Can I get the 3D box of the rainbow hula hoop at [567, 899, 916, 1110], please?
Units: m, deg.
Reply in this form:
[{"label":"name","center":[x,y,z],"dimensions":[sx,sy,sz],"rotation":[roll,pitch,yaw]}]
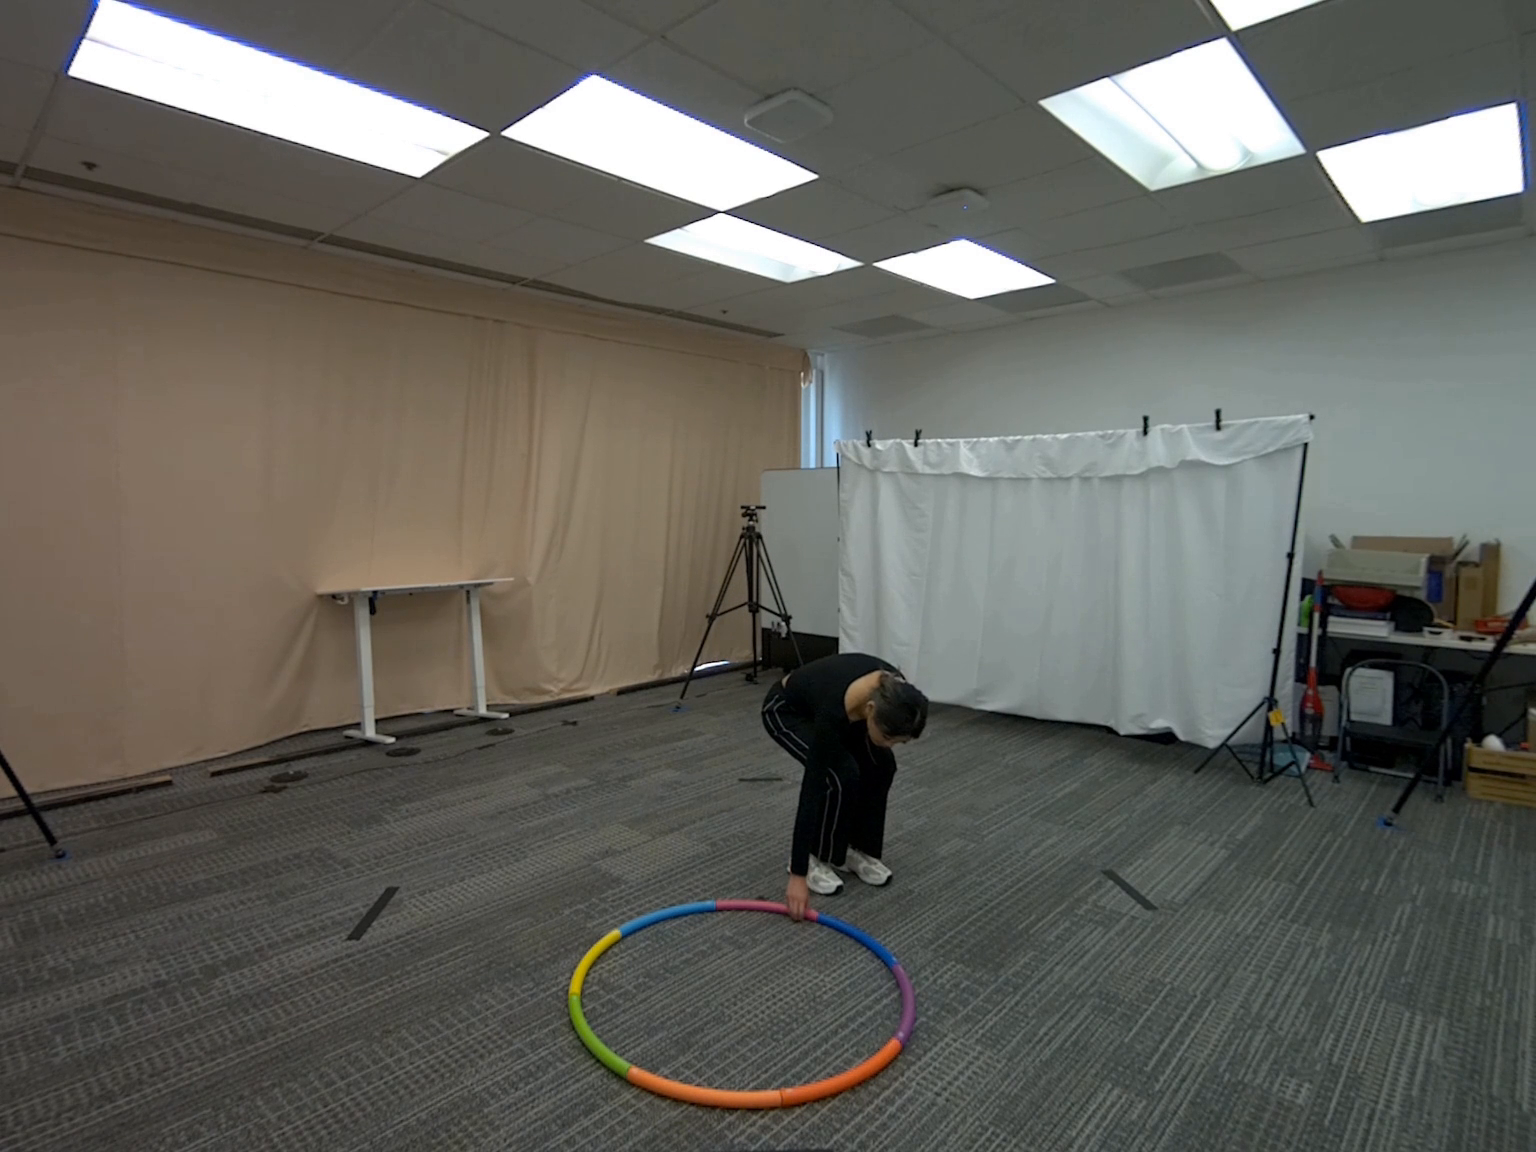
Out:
[{"label":"rainbow hula hoop","center":[-0.077,1.160,2.432],"dimensions":[0.978,0.035,0.982],"rotation":[0,4,-2]}]
